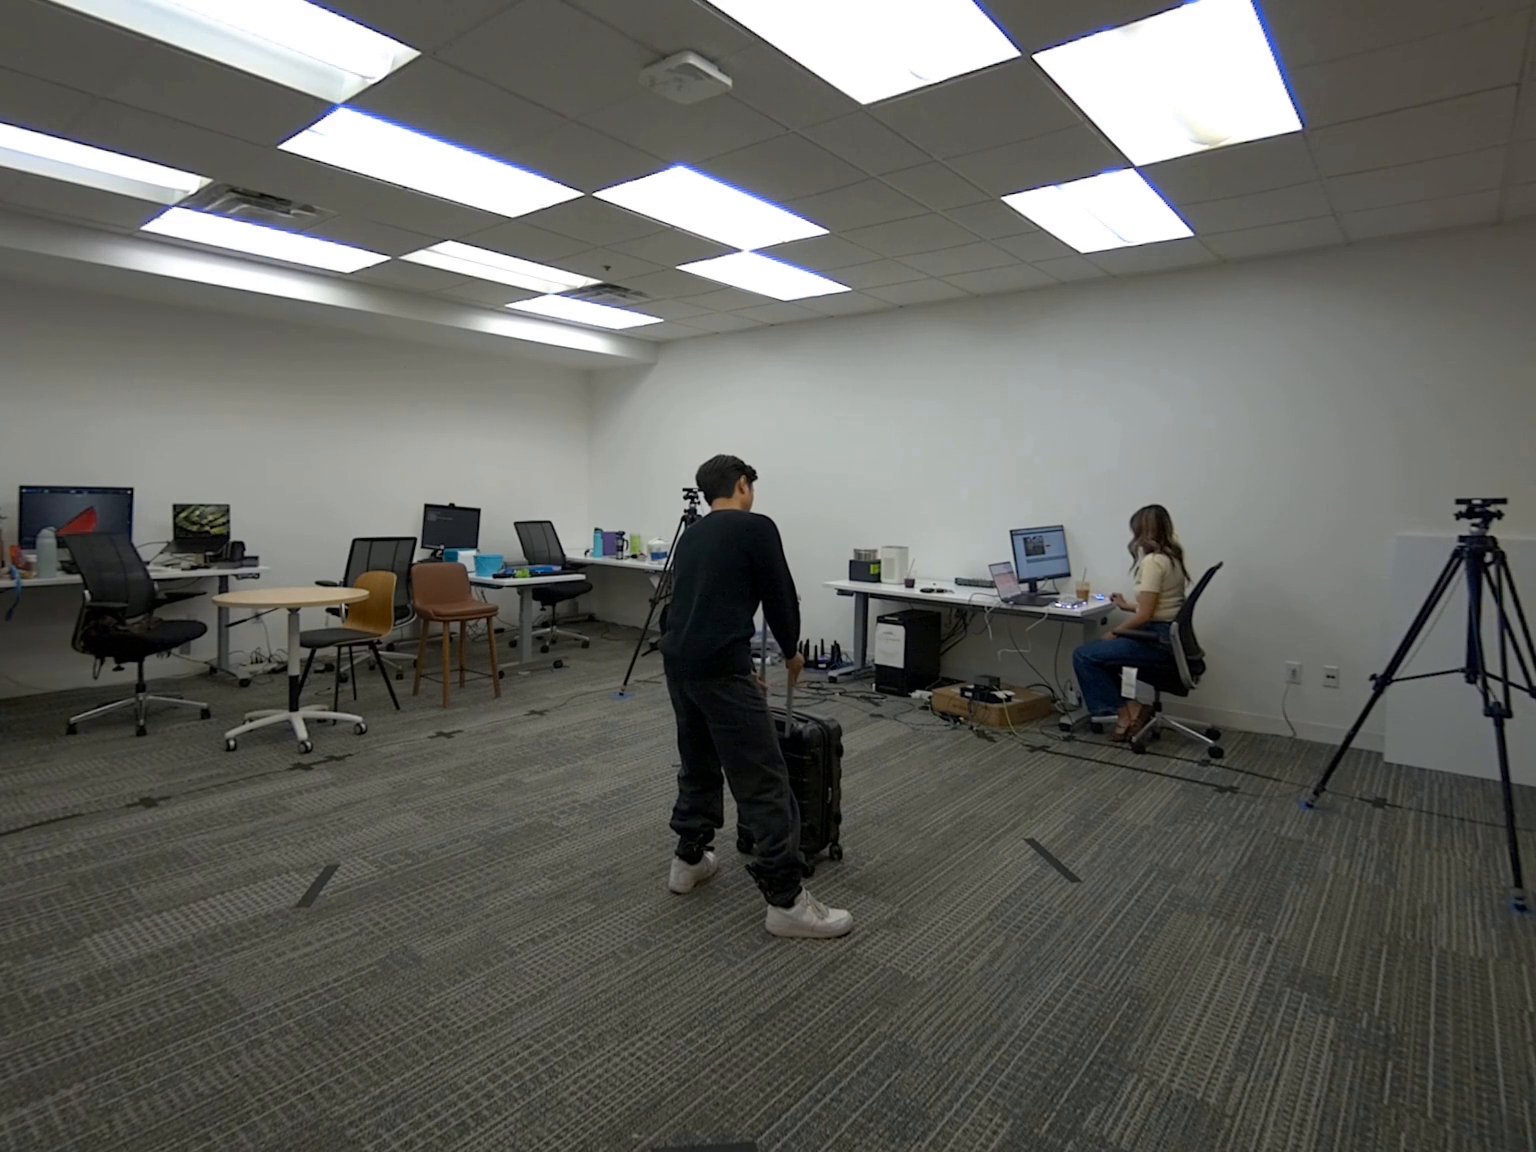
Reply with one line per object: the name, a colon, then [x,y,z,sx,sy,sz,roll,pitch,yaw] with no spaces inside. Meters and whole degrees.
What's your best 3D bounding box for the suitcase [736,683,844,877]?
suitcase: [0.085,0.582,3.261,0.396,0.979,0.249,2,0,40]
